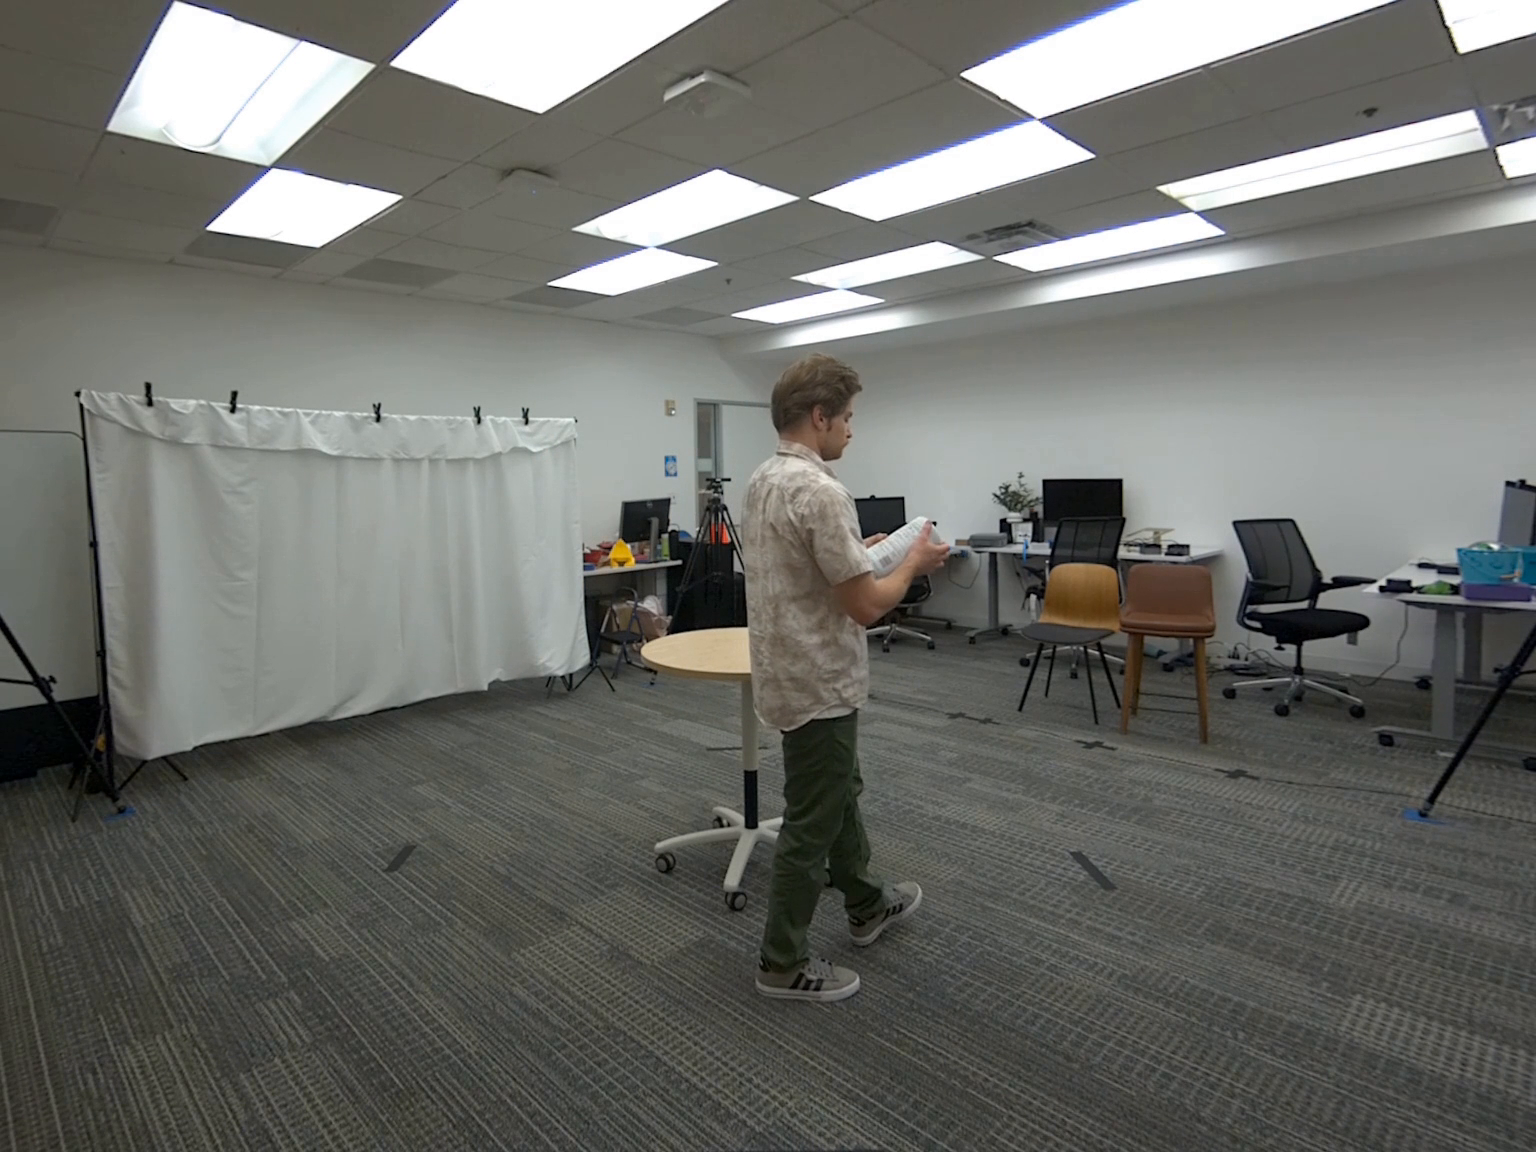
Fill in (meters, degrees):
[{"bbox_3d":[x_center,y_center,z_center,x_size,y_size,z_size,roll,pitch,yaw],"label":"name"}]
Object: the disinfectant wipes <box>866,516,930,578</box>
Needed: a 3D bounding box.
[{"bbox_3d":[0.357,-0.067,2.314,0.216,0.116,0.120,-29,11,-10],"label":"disinfectant wipes"}]
